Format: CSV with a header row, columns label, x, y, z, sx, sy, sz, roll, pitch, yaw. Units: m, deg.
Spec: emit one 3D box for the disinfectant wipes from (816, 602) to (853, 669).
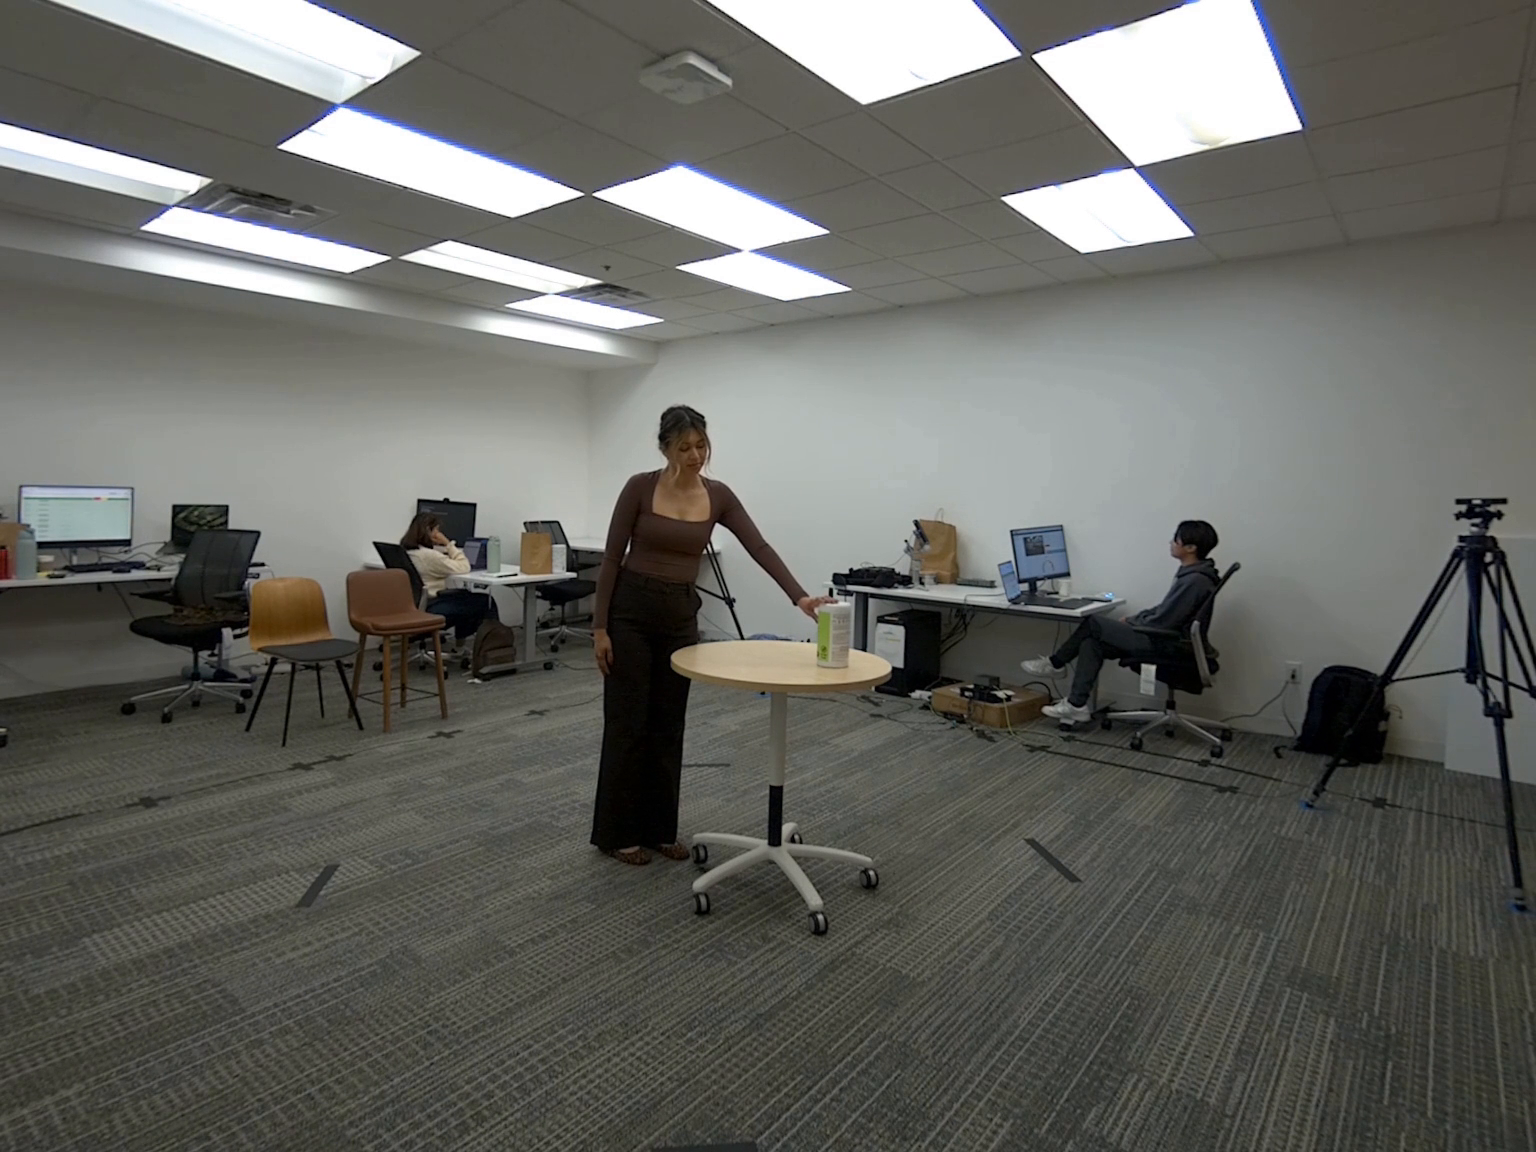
label,x,y,z,sx,sy,sz,roll,pitch,yaw
disinfectant wipes,0.220,0.196,2.901,0.118,0.217,0.118,-1,3,-2
